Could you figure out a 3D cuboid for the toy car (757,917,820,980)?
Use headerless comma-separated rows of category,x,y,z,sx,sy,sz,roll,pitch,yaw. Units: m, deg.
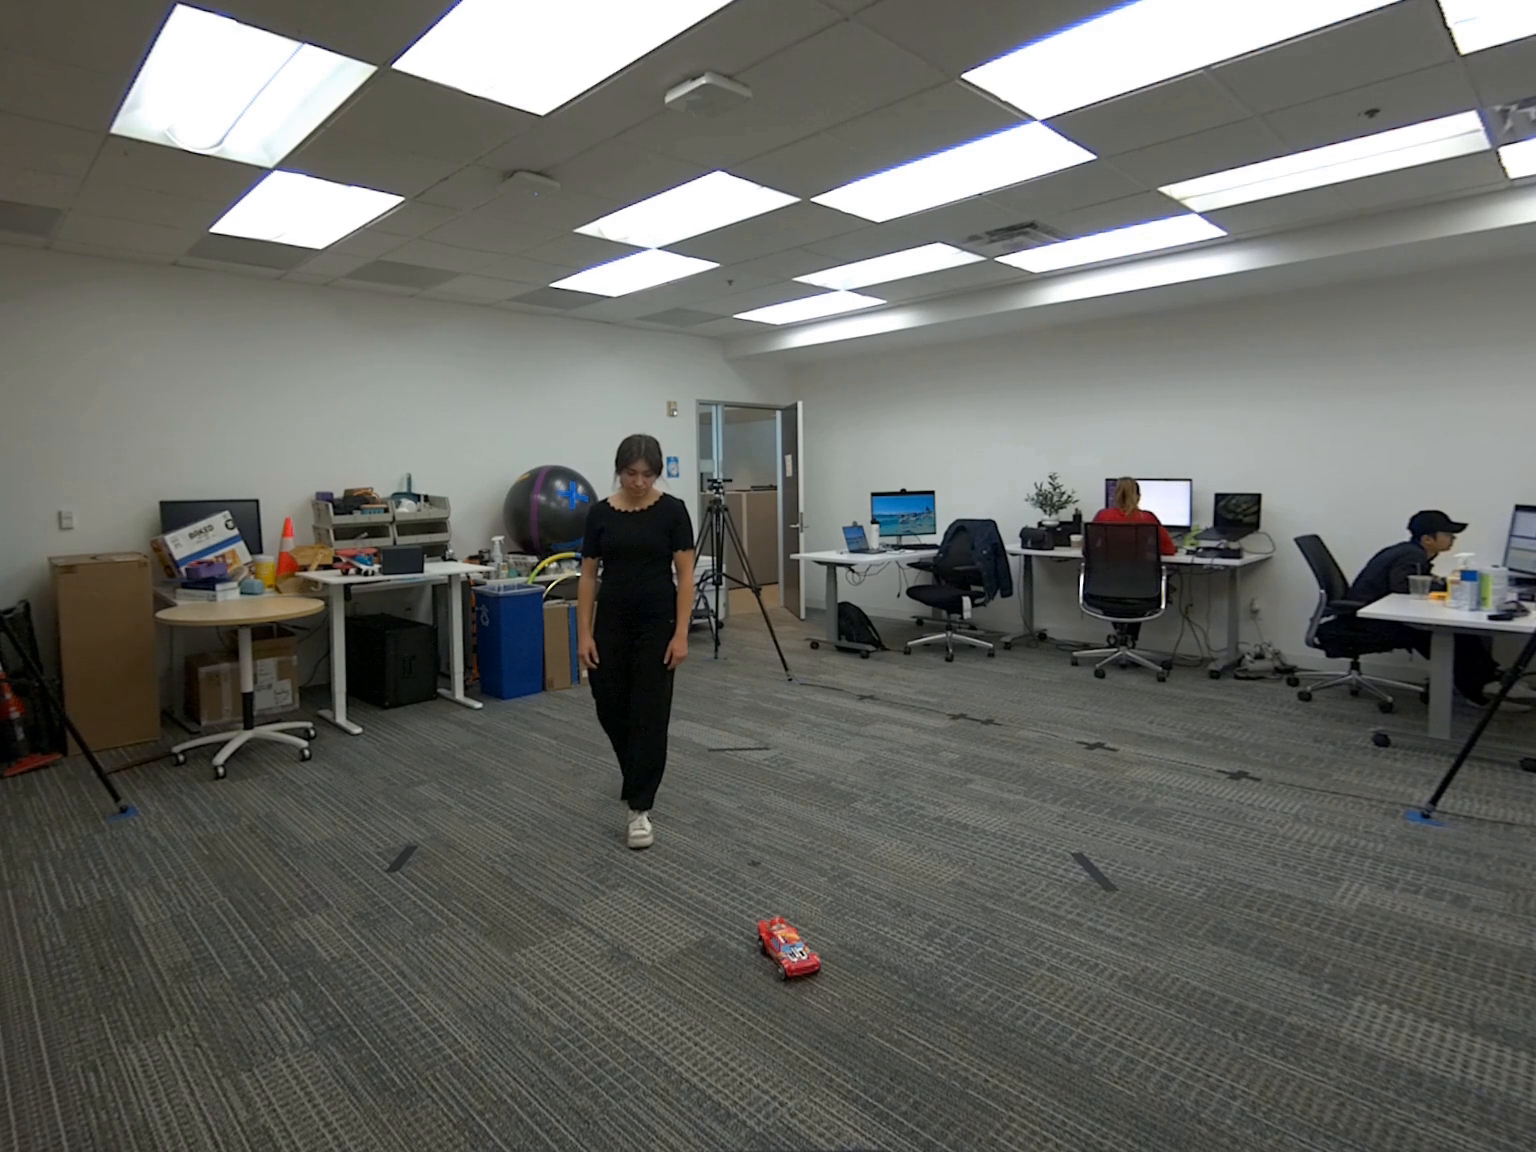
toy car,0.056,1.085,2.485,0.128,0.082,0.262,-4,16,-21
